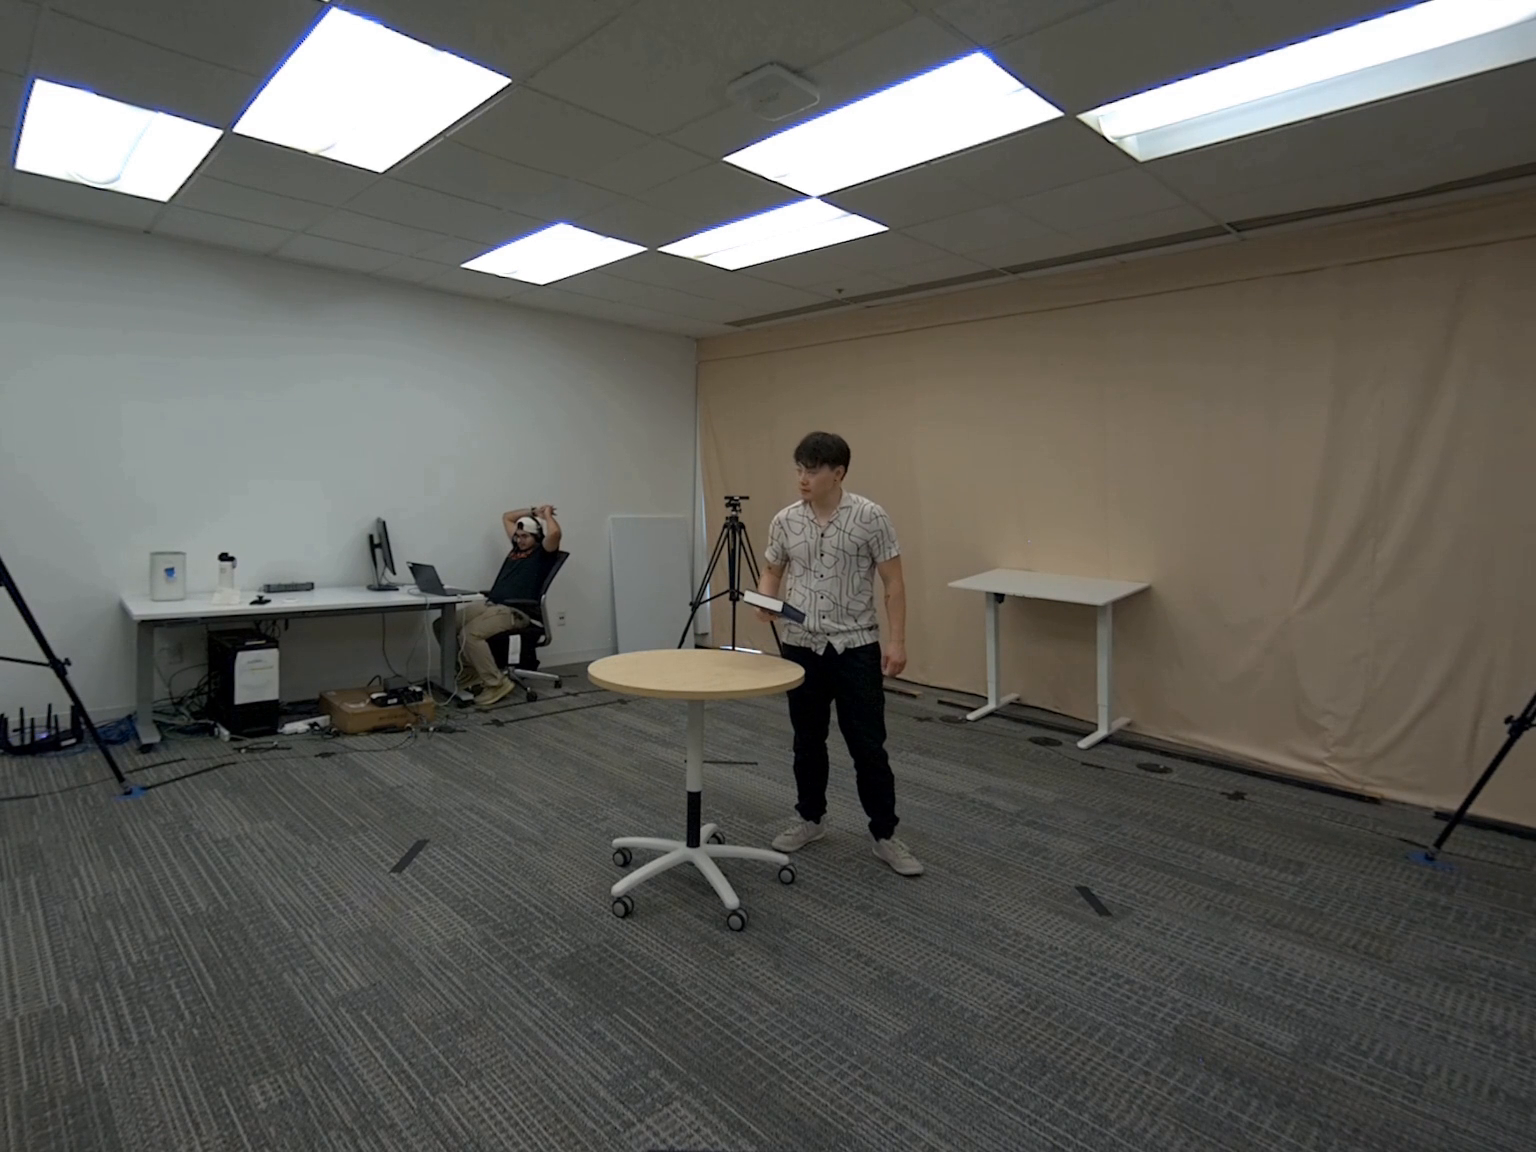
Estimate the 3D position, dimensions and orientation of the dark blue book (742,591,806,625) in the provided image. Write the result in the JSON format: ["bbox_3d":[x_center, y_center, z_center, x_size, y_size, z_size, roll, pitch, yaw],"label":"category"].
[{"bbox_3d":[0.009,0.113,3.108,0.167,0.045,0.239,17,-6,25],"label":"dark blue book"}]
